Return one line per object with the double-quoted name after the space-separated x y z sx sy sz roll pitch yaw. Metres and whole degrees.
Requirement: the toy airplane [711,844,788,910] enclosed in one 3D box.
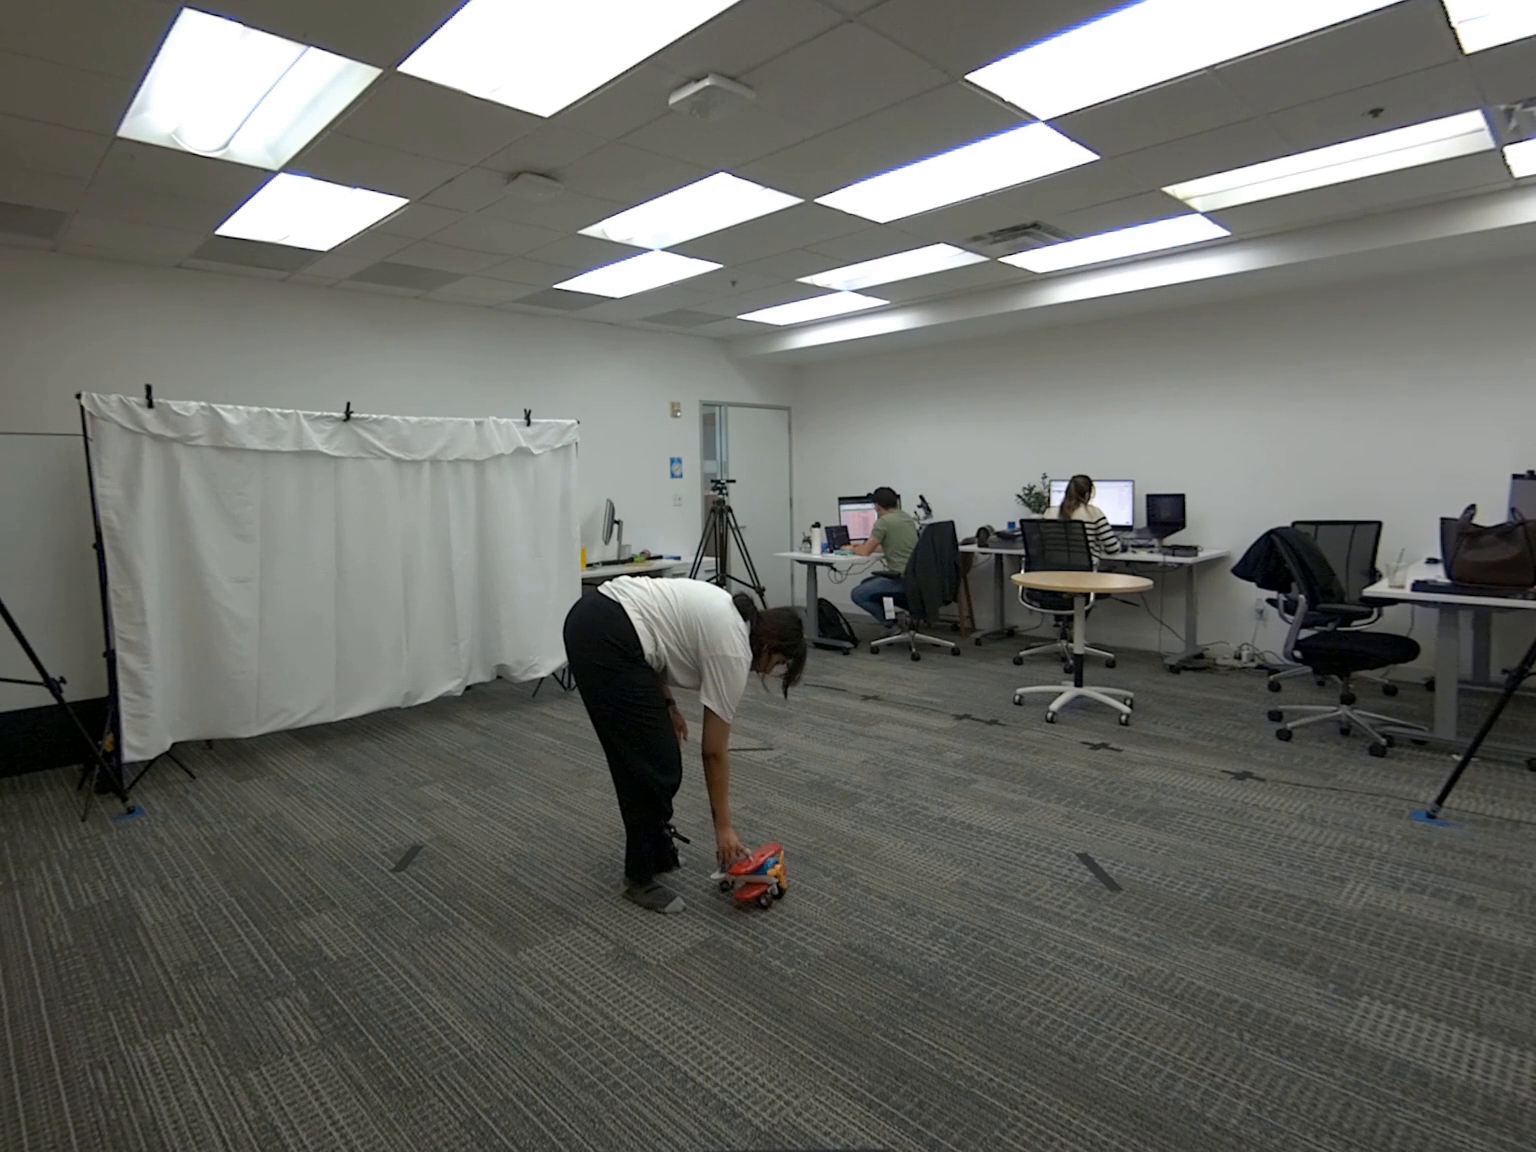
-0.070 0.998 2.841 0.261 0.155 0.250 0 7 7 "toy airplane"
